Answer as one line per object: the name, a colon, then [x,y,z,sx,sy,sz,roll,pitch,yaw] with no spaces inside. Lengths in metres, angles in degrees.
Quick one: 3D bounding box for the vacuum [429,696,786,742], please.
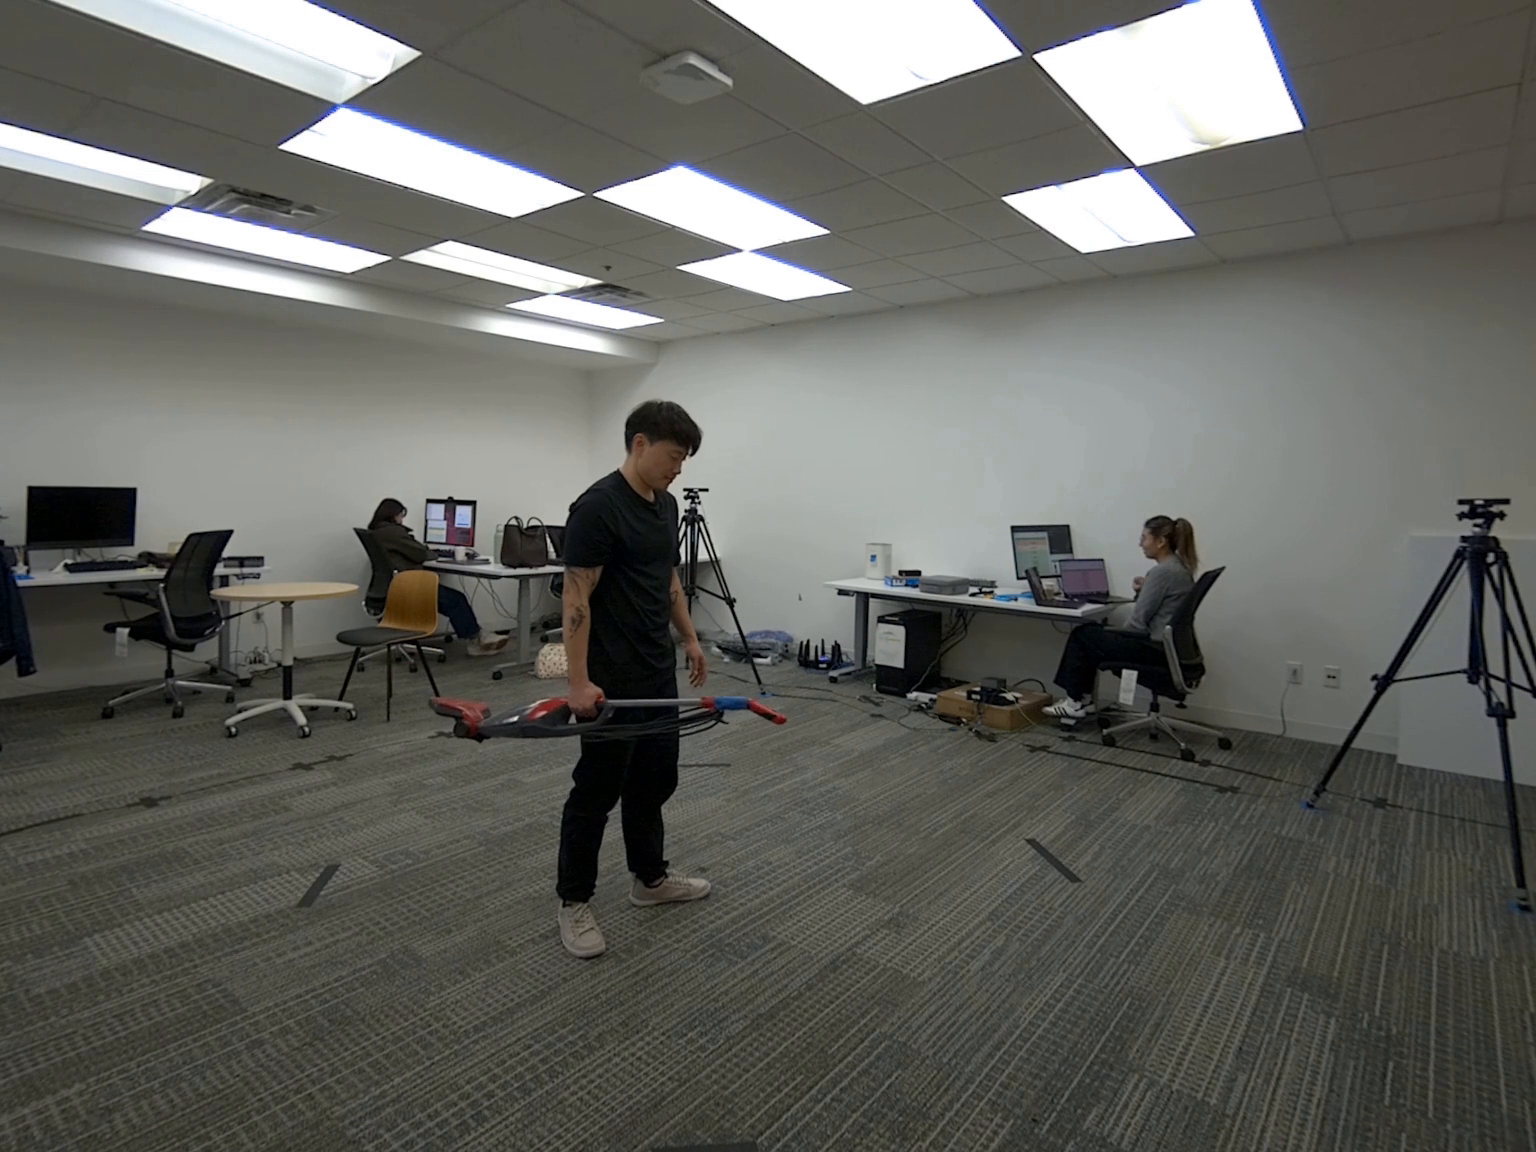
vacuum: [-0.469,0.413,2.422,1.074,0.146,0.243,-4,-15,25]
